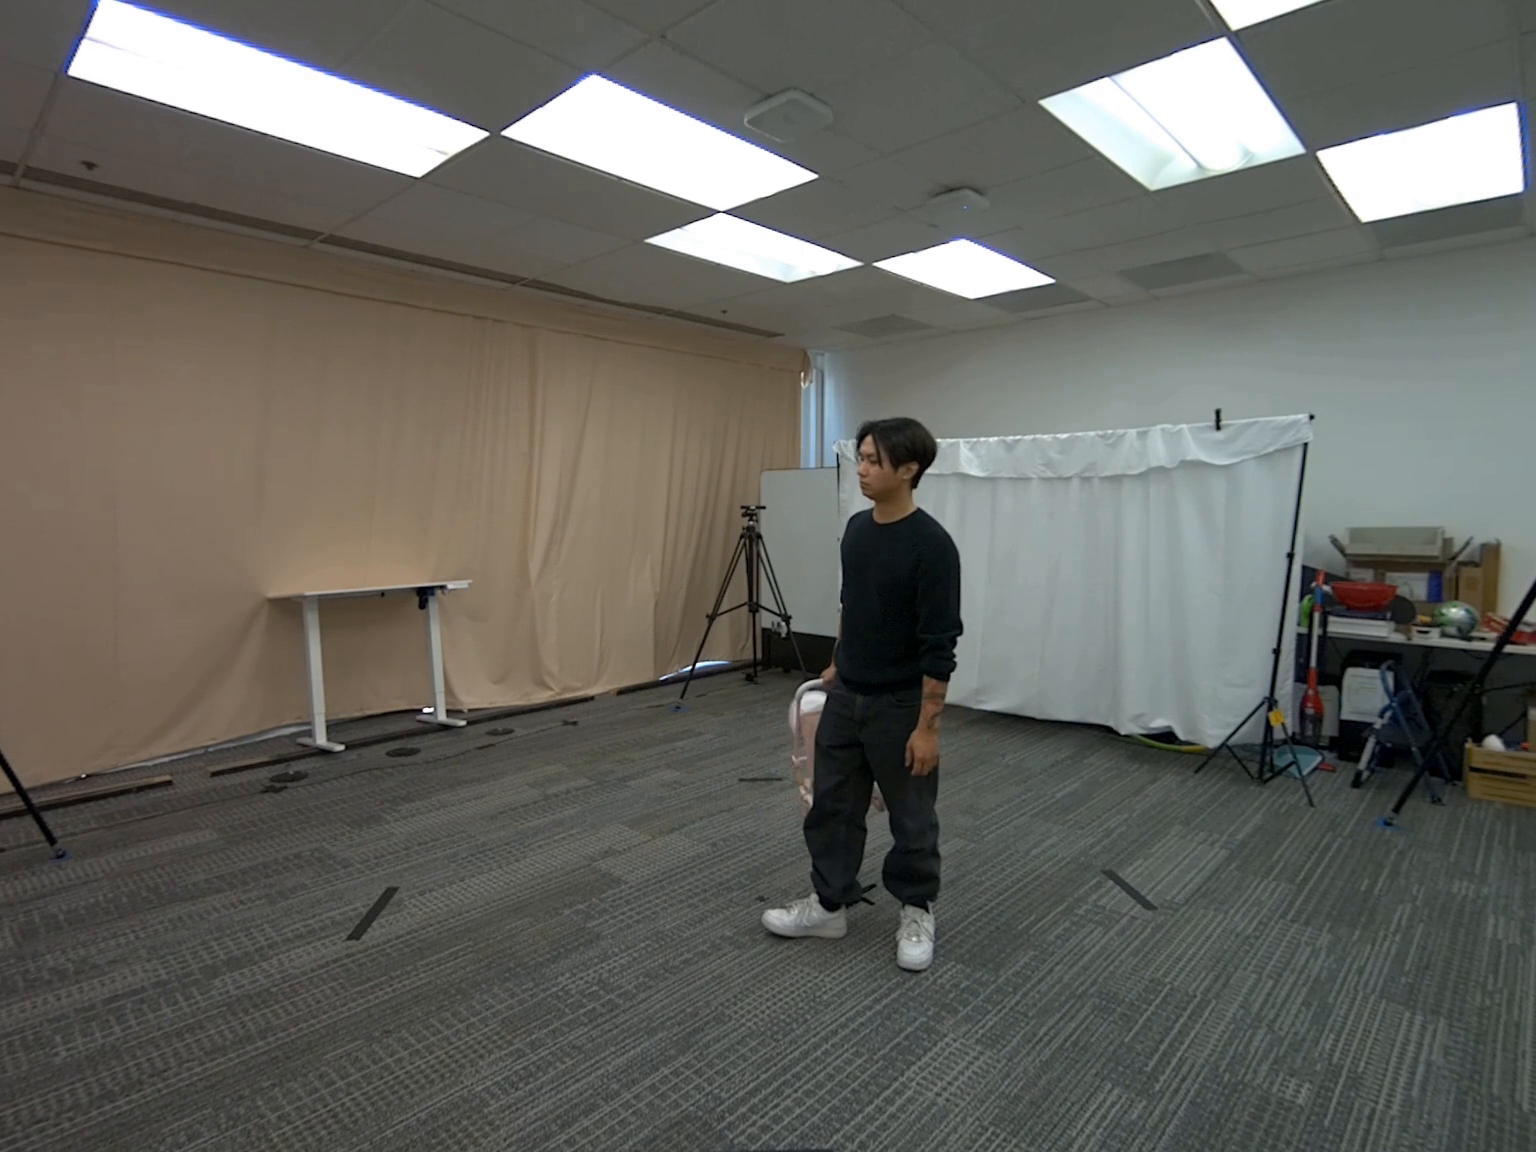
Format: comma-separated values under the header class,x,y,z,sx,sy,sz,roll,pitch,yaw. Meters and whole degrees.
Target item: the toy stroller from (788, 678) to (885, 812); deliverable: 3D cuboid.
class,x,y,z,sx,sy,sz,roll,pitch,yaw
toy stroller,0.211,0.649,3.039,0.278,0.539,0.342,-9,-10,-12
